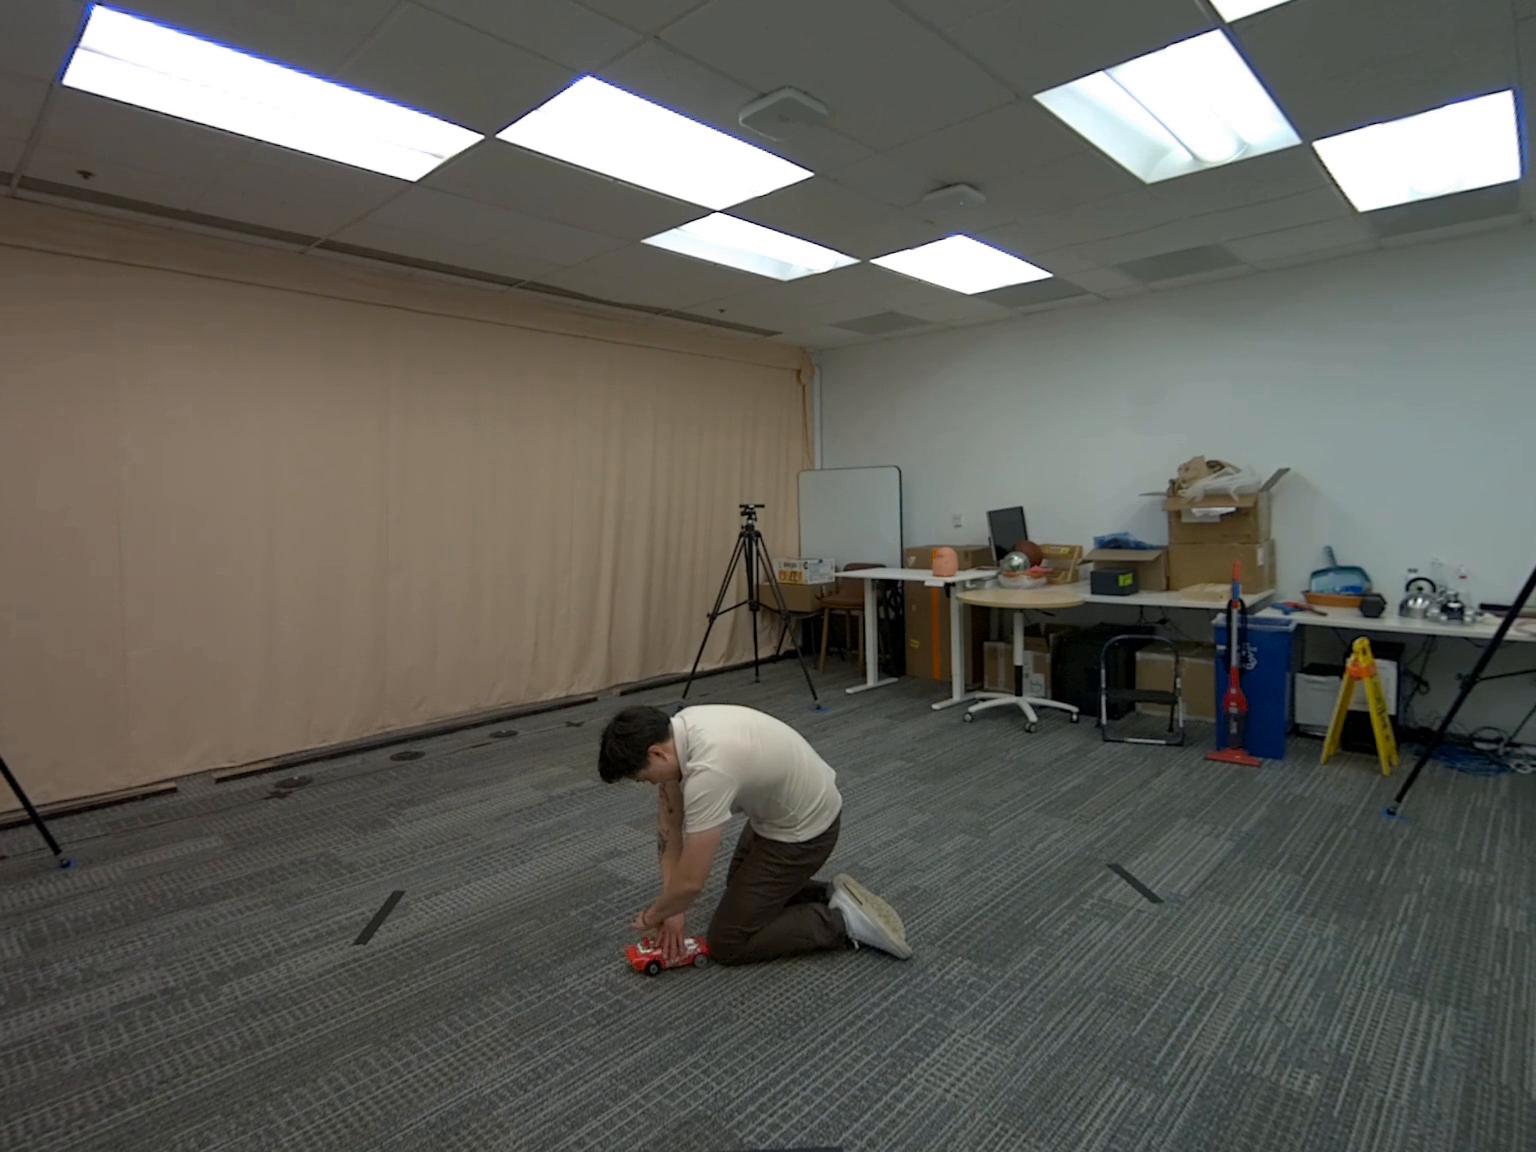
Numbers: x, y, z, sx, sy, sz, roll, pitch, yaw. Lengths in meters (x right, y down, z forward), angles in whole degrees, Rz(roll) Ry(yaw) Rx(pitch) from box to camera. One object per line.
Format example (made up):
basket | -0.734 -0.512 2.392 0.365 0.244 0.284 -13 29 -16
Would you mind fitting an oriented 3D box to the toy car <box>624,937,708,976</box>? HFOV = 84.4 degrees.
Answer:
toy car | -0.318 1.156 2.563 0.250 0.083 0.132 11 -1 -16
